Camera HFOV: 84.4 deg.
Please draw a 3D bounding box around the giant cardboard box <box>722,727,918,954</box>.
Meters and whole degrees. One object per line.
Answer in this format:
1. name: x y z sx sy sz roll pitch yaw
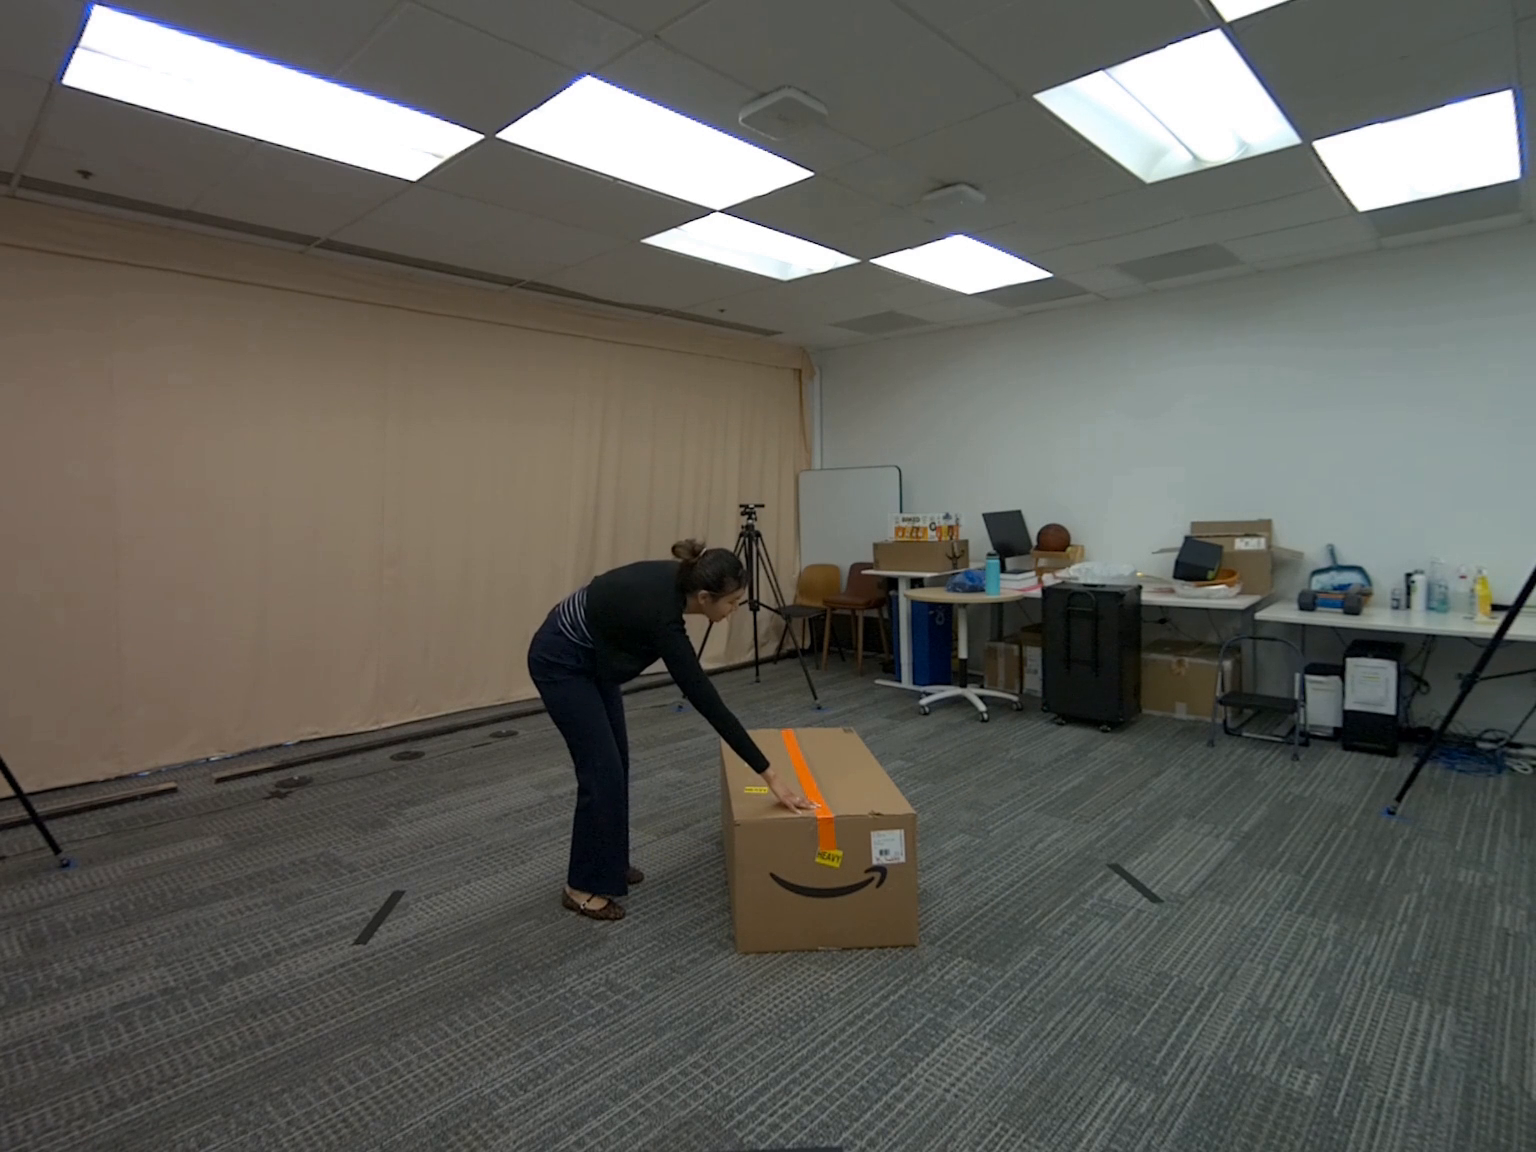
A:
1. giant cardboard box: 0.138 0.909 3.121 0.575 0.425 1.033 -2 5 -5
